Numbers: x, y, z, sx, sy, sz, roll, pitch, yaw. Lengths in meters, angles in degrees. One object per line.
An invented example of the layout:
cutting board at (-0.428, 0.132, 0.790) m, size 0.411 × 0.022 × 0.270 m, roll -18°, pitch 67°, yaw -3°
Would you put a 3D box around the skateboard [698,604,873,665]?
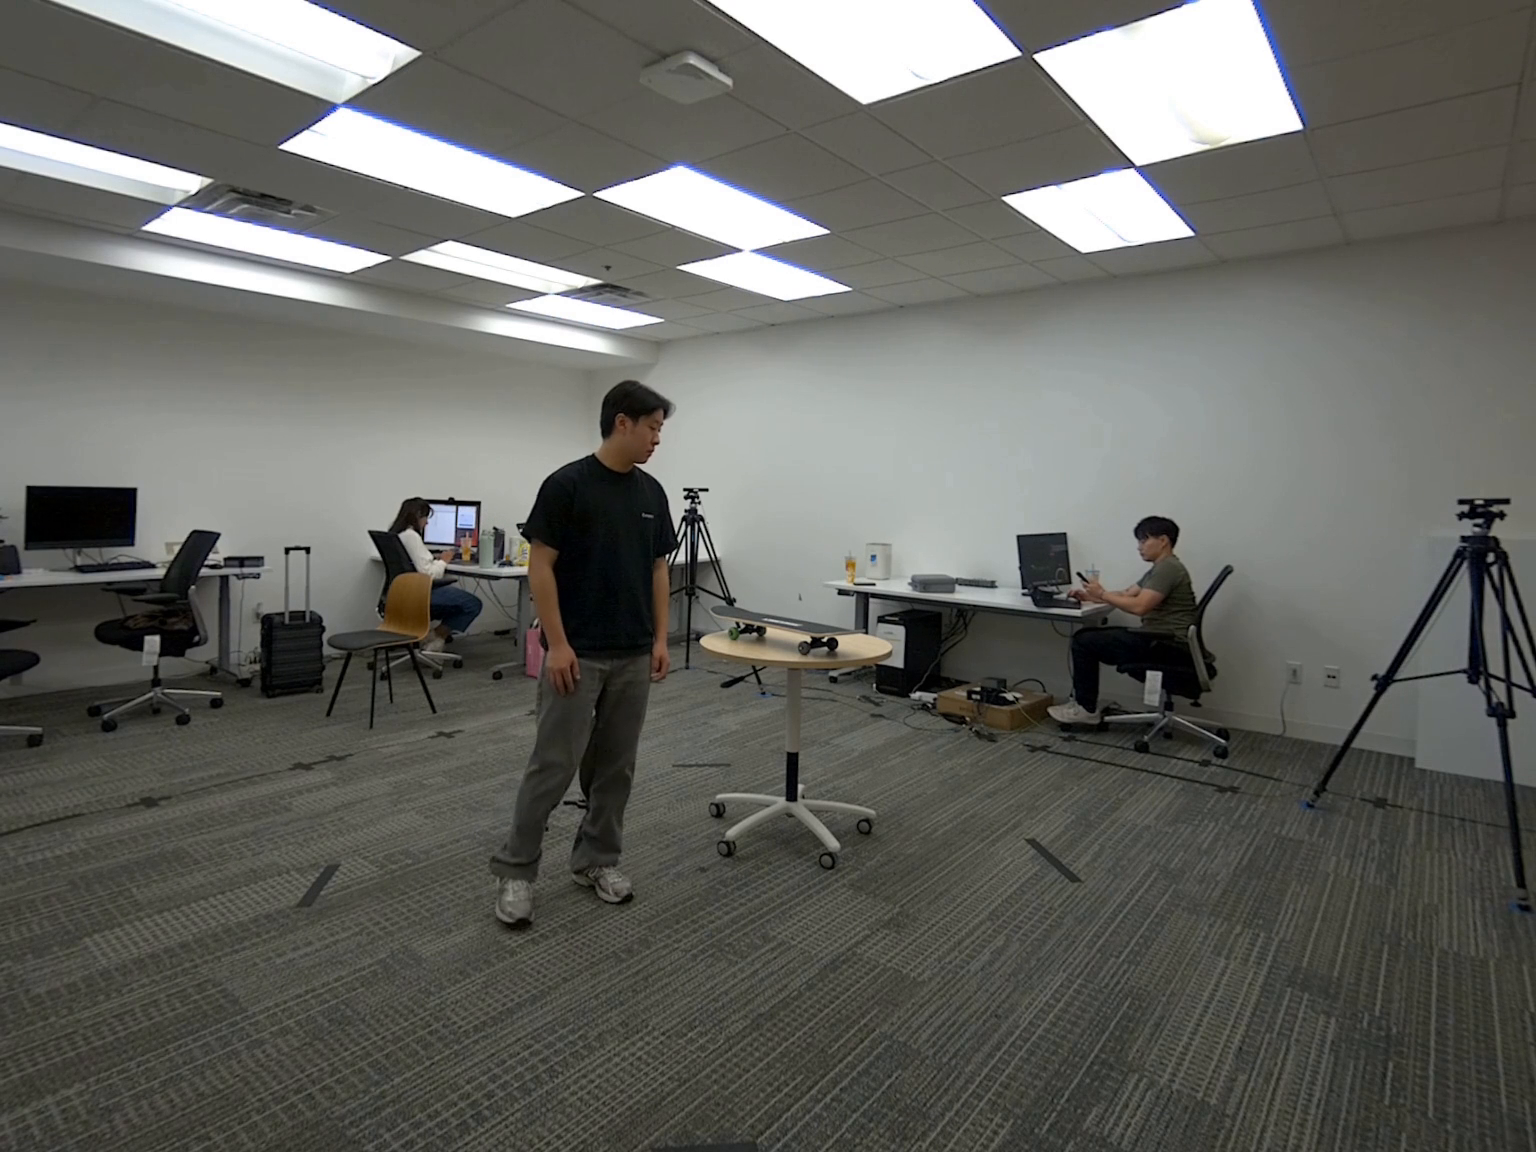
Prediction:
skateboard at (0.042, 0.218, 3.341) m, size 0.188 × 0.110 × 0.812 m, roll -3°, pitch 7°, yaw -41°
